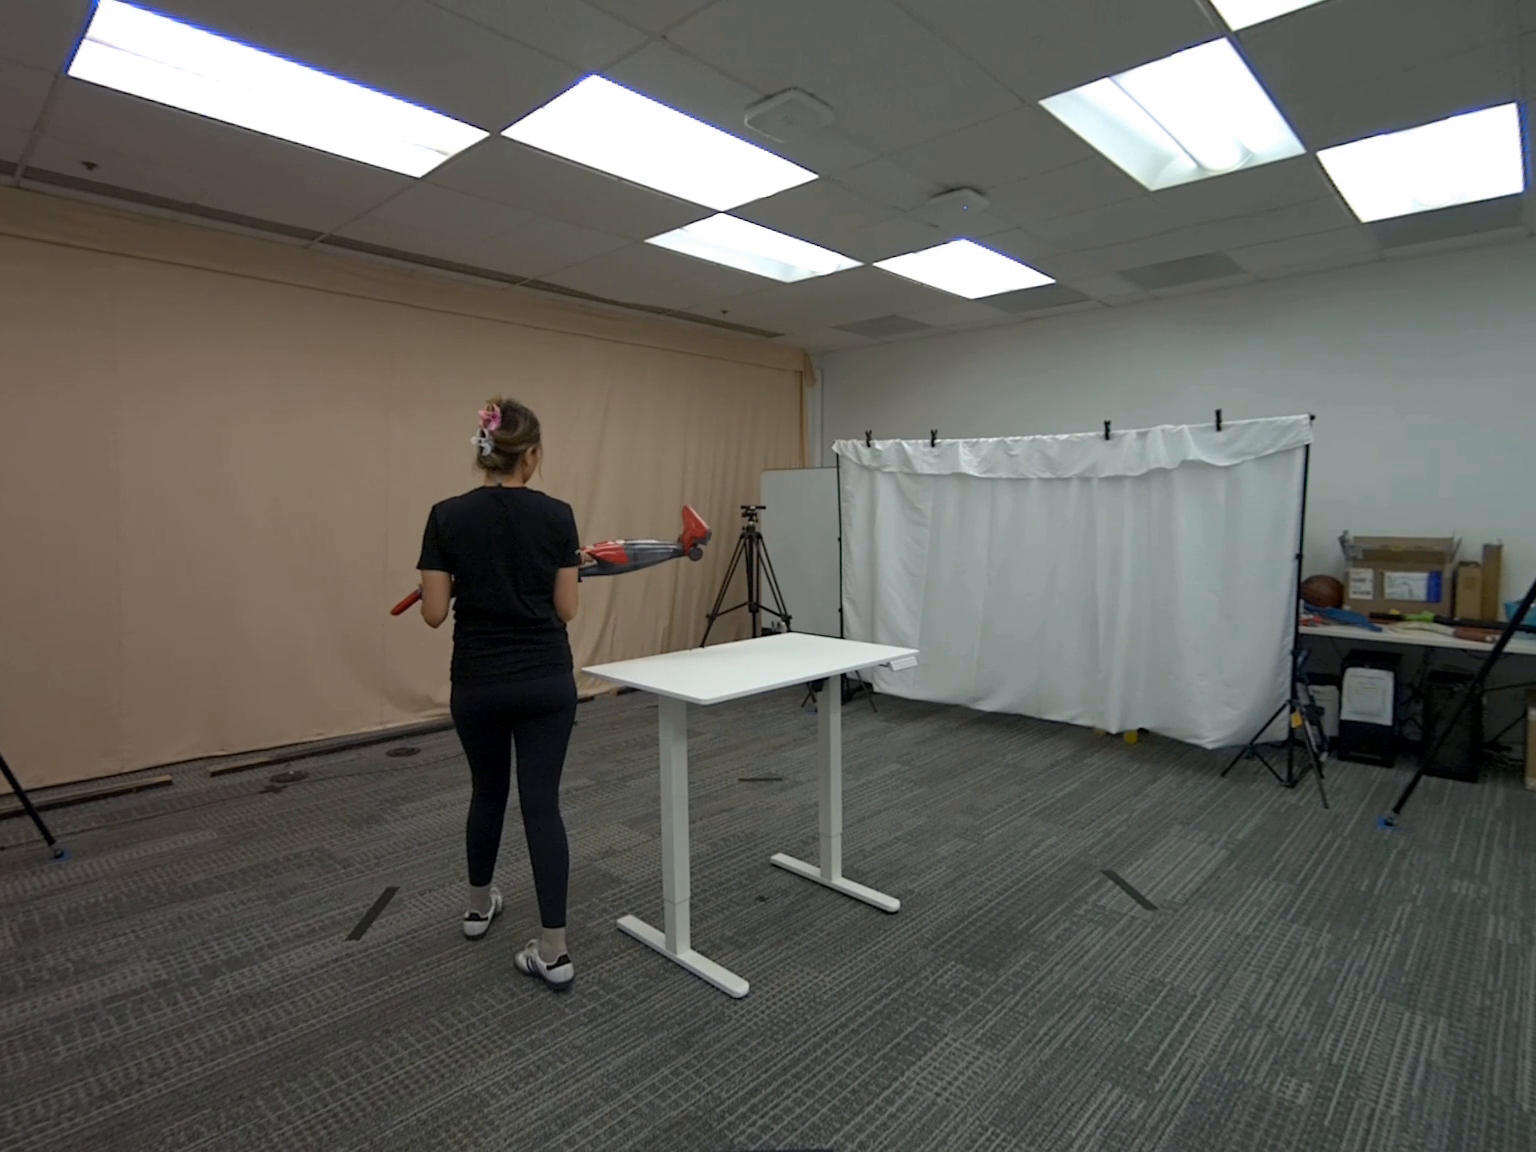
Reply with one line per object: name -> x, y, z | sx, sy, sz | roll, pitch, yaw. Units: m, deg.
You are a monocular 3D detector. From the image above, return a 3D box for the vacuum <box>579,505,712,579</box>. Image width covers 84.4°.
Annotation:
vacuum -> -0.723, -0.014, 2.851 | 1.035, 0.141, 0.261 | -16, 29, -16
